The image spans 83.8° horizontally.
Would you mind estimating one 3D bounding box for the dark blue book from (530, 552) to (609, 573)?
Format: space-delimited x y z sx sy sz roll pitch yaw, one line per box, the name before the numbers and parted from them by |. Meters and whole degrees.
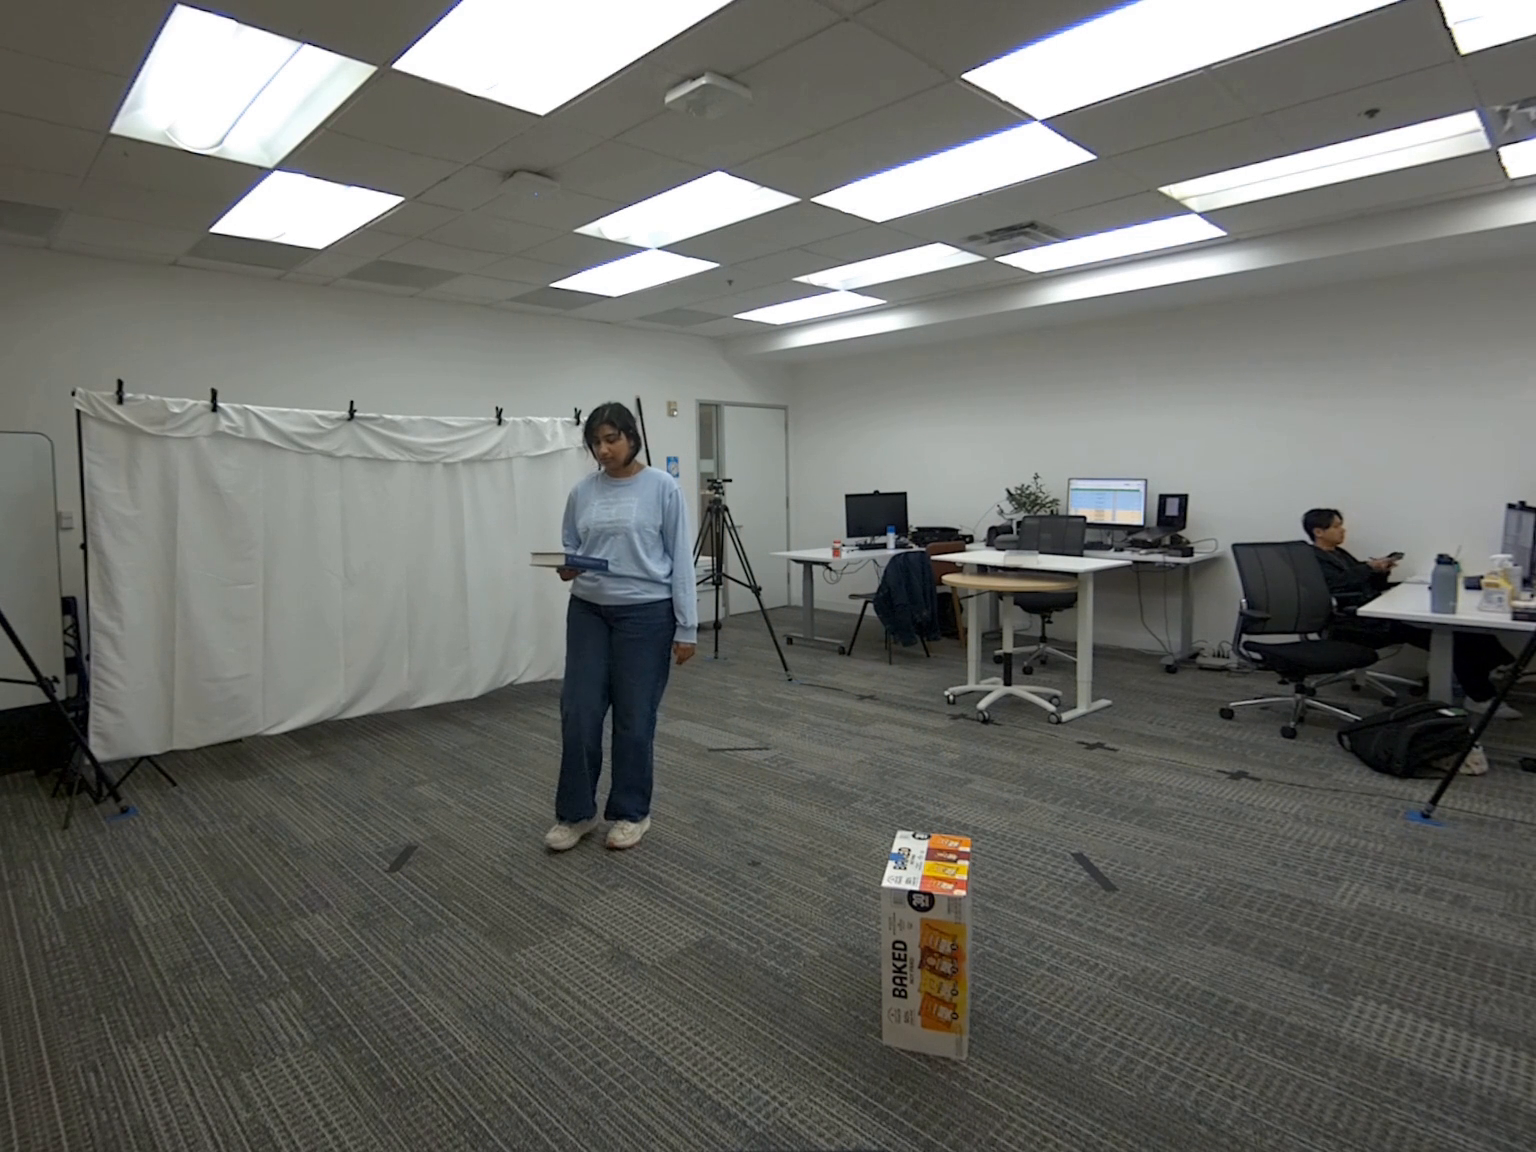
dark blue book | -0.692 -0.044 3.050 0.167 0.045 0.238 0 -3 28
